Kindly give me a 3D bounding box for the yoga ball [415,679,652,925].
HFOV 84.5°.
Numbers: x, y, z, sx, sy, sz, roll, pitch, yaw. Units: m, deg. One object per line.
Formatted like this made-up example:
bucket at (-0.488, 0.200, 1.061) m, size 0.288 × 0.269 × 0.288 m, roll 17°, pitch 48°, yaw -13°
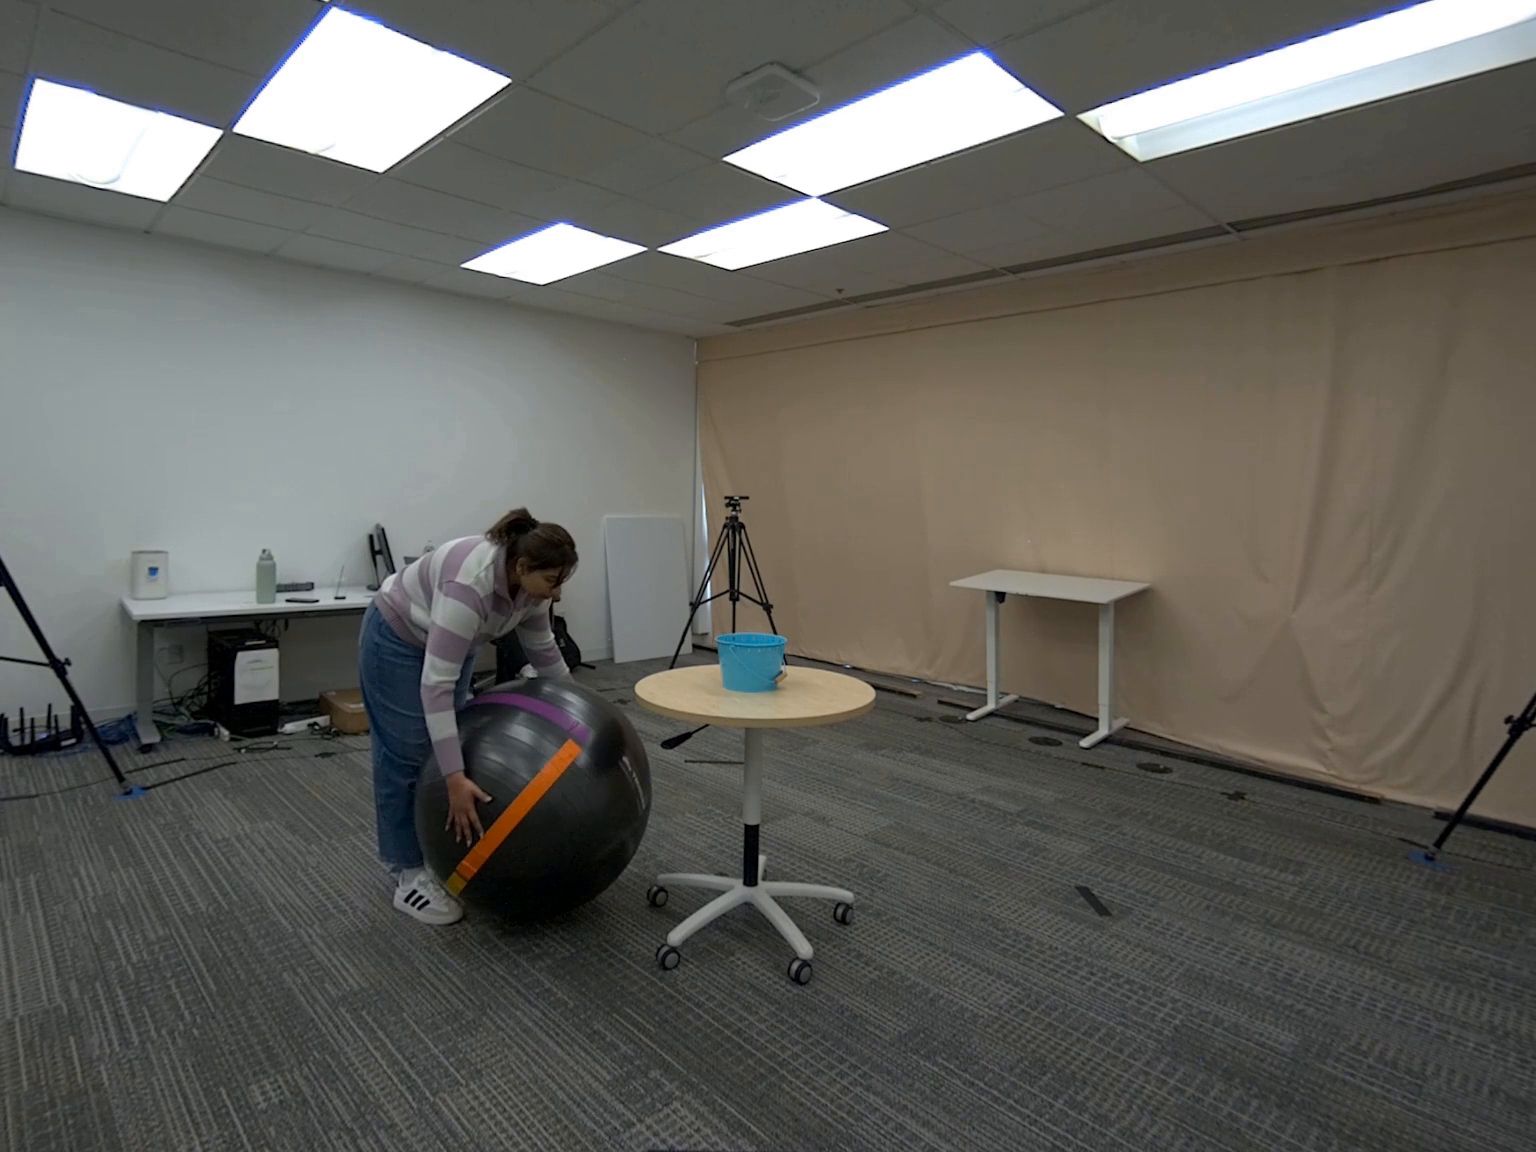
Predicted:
yoga ball at (-0.766, 0.719, 2.762) m, size 0.757 × 0.756 × 0.761 m, roll 1°, pitch 4°, yaw -1°
